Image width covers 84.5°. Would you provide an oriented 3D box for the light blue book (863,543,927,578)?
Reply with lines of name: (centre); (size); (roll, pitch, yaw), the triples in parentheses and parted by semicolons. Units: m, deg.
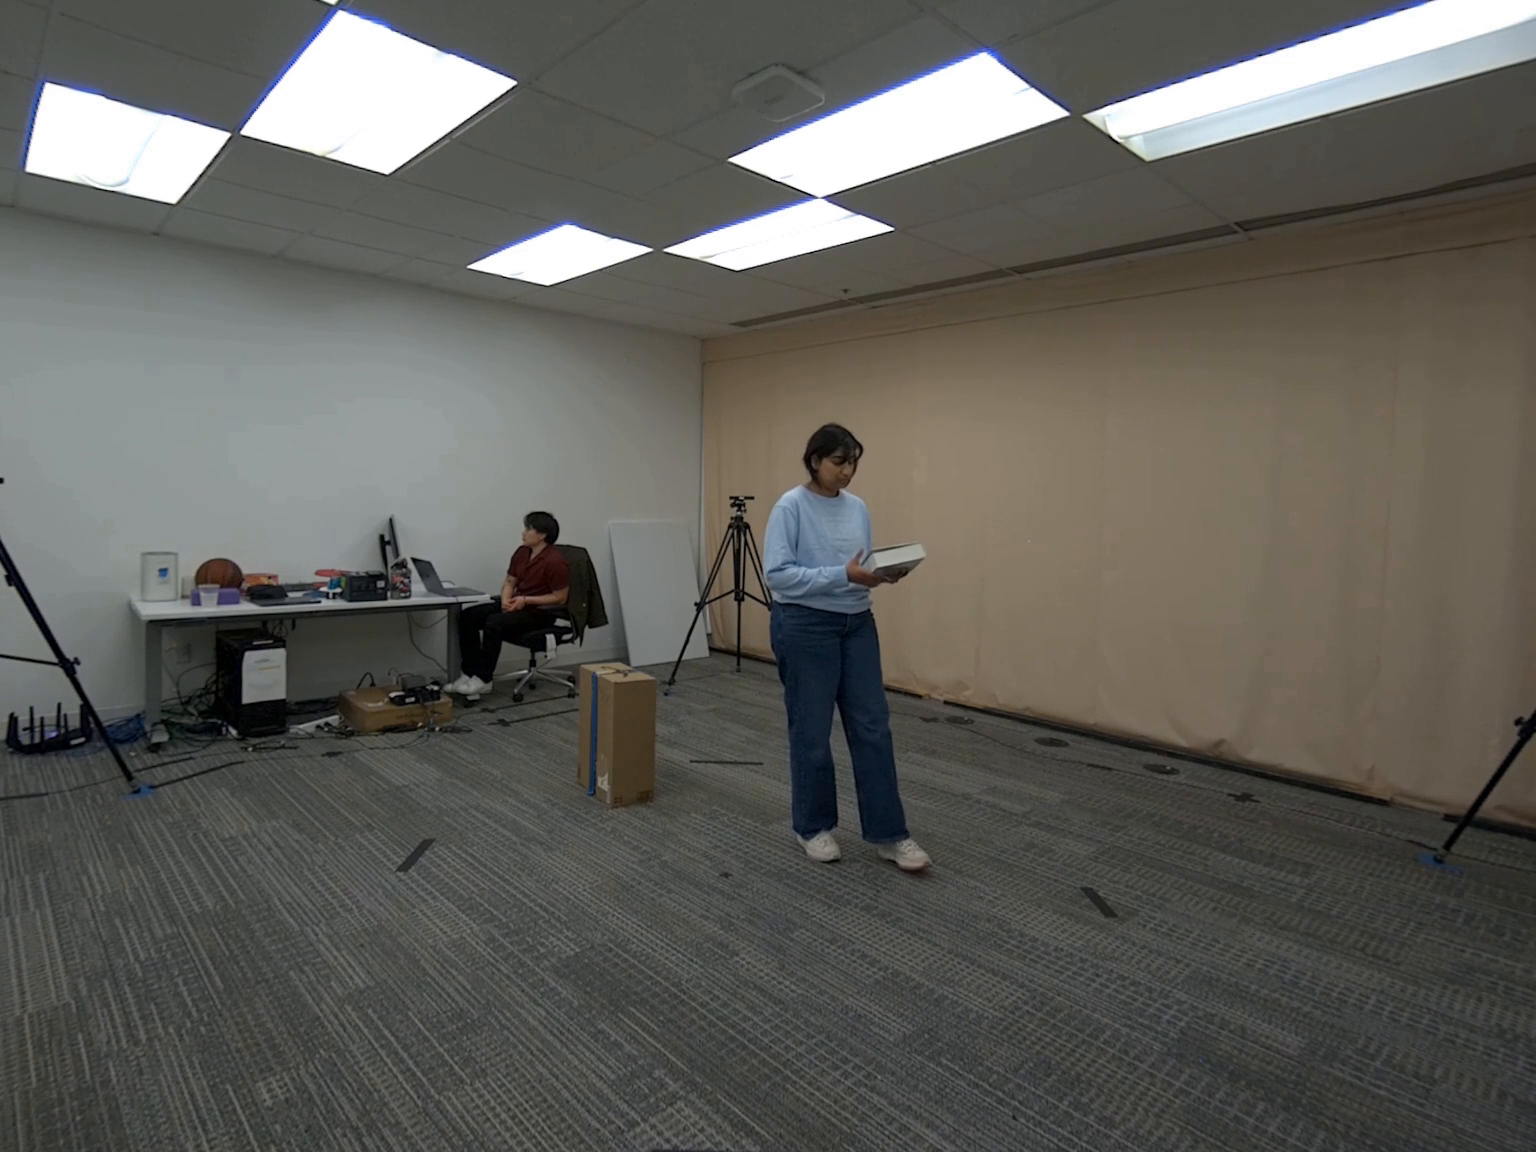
light blue book: (0.451, -0.048, 3.092); (0.192, 0.060, 0.257); (-11, -14, 2)
